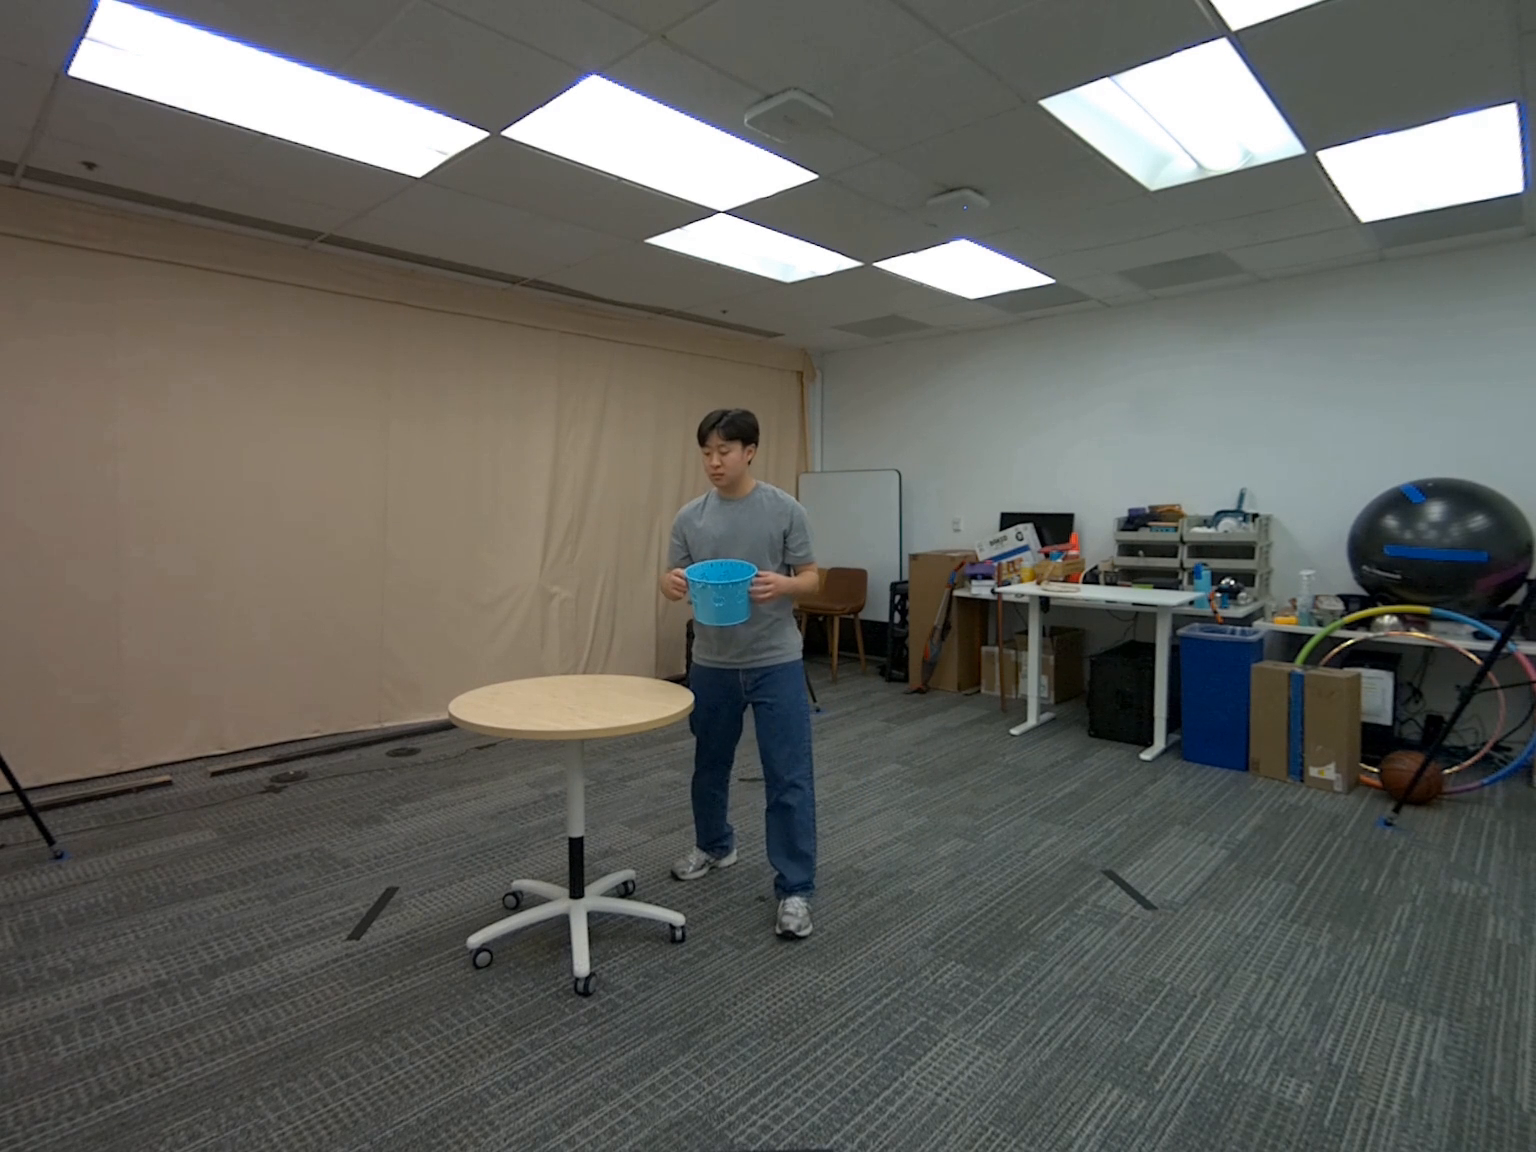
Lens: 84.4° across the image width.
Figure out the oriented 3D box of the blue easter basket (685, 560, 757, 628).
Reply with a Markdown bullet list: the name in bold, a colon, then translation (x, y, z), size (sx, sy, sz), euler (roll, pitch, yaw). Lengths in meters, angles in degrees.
- **blue easter basket**: translation (-0.153, 0.050, 2.704), size (0.243, 0.154, 0.246), euler (-1, 16, -1)
